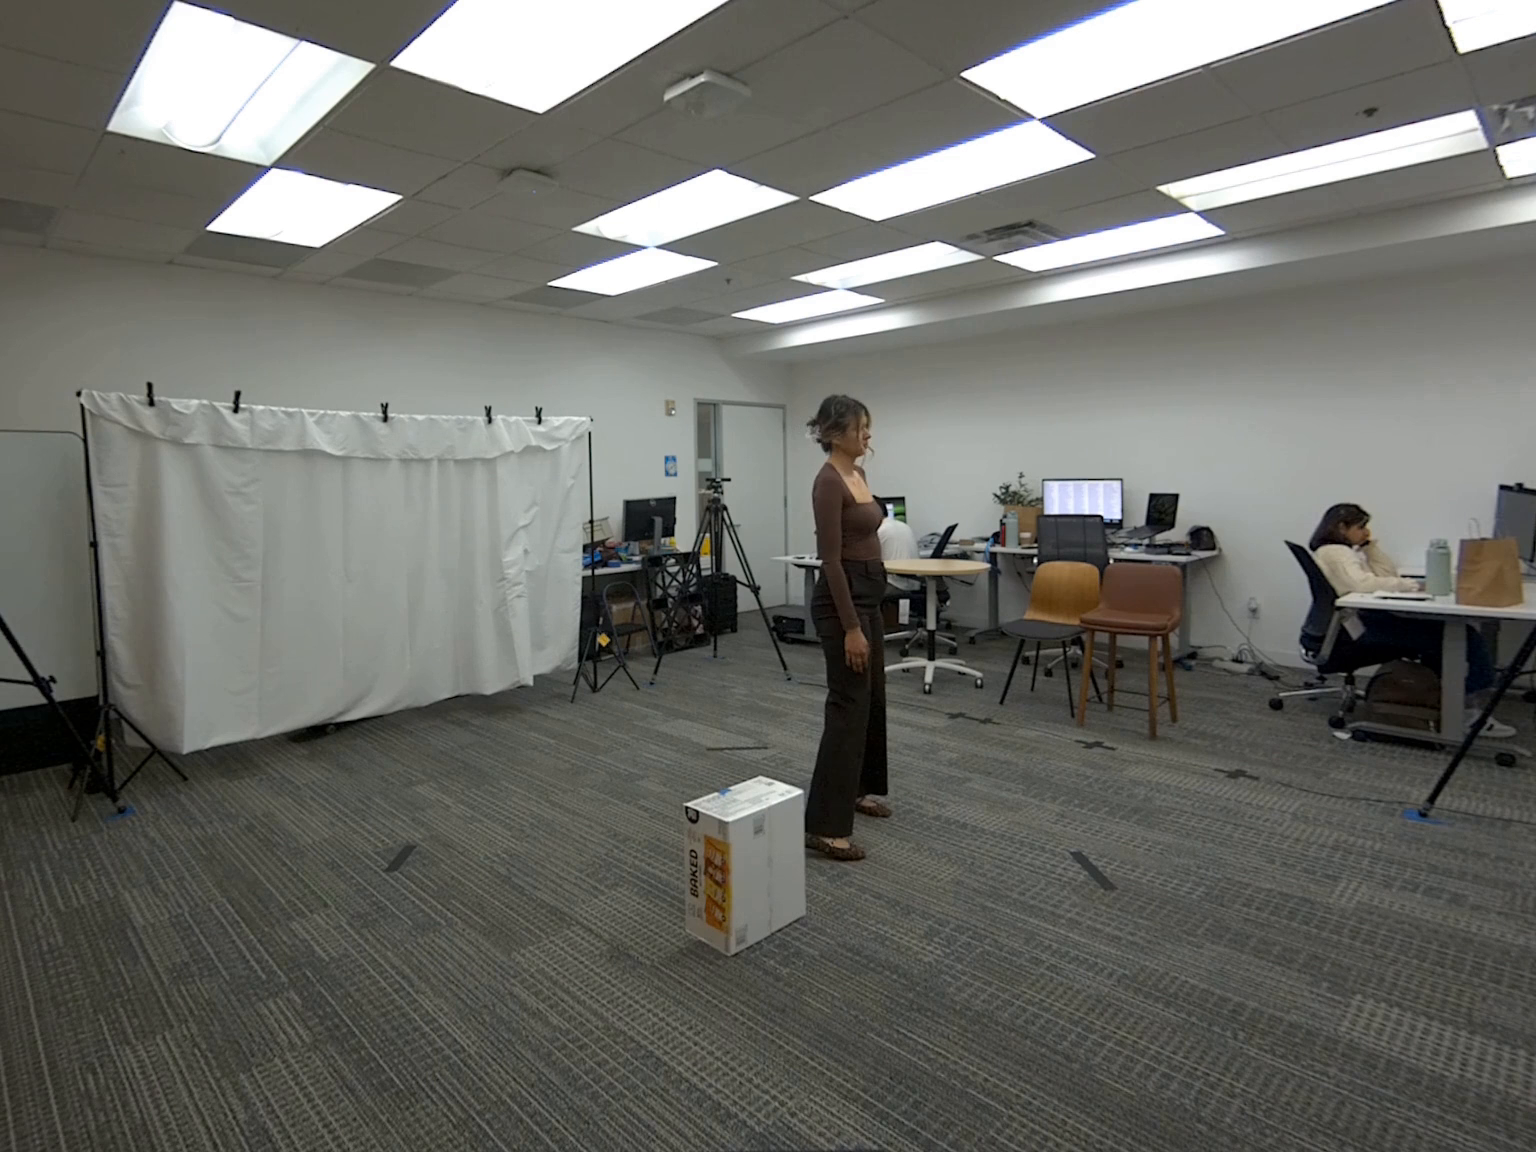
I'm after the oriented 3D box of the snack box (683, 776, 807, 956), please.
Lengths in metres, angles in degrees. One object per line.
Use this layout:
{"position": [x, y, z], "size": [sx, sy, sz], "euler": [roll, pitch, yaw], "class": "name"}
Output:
{"position": [-0.065, 0.890, 2.671], "size": [0.212, 0.404, 0.331], "euler": [3, 6, 45], "class": "snack box"}
